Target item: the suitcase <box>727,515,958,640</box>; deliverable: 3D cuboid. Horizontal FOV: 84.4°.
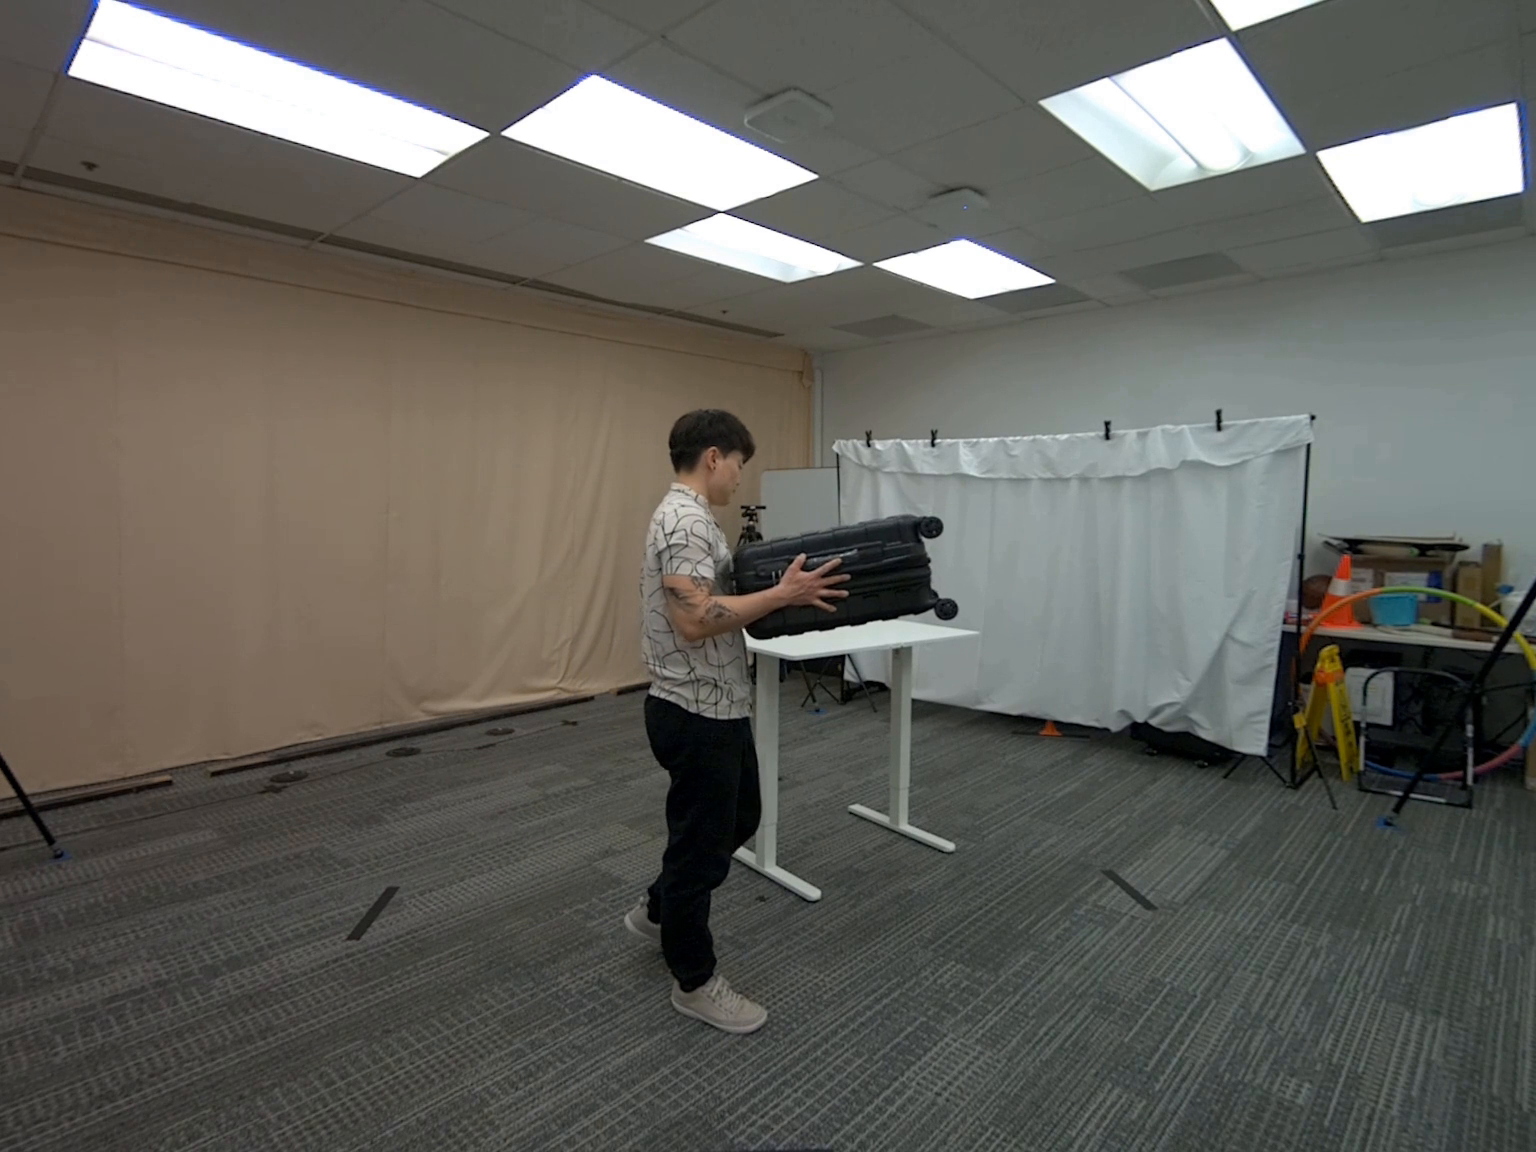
[{"bbox_3d":[0.189,-0.003,2.260,0.553,0.248,0.373,-9,2,5],"label":"suitcase"}]
